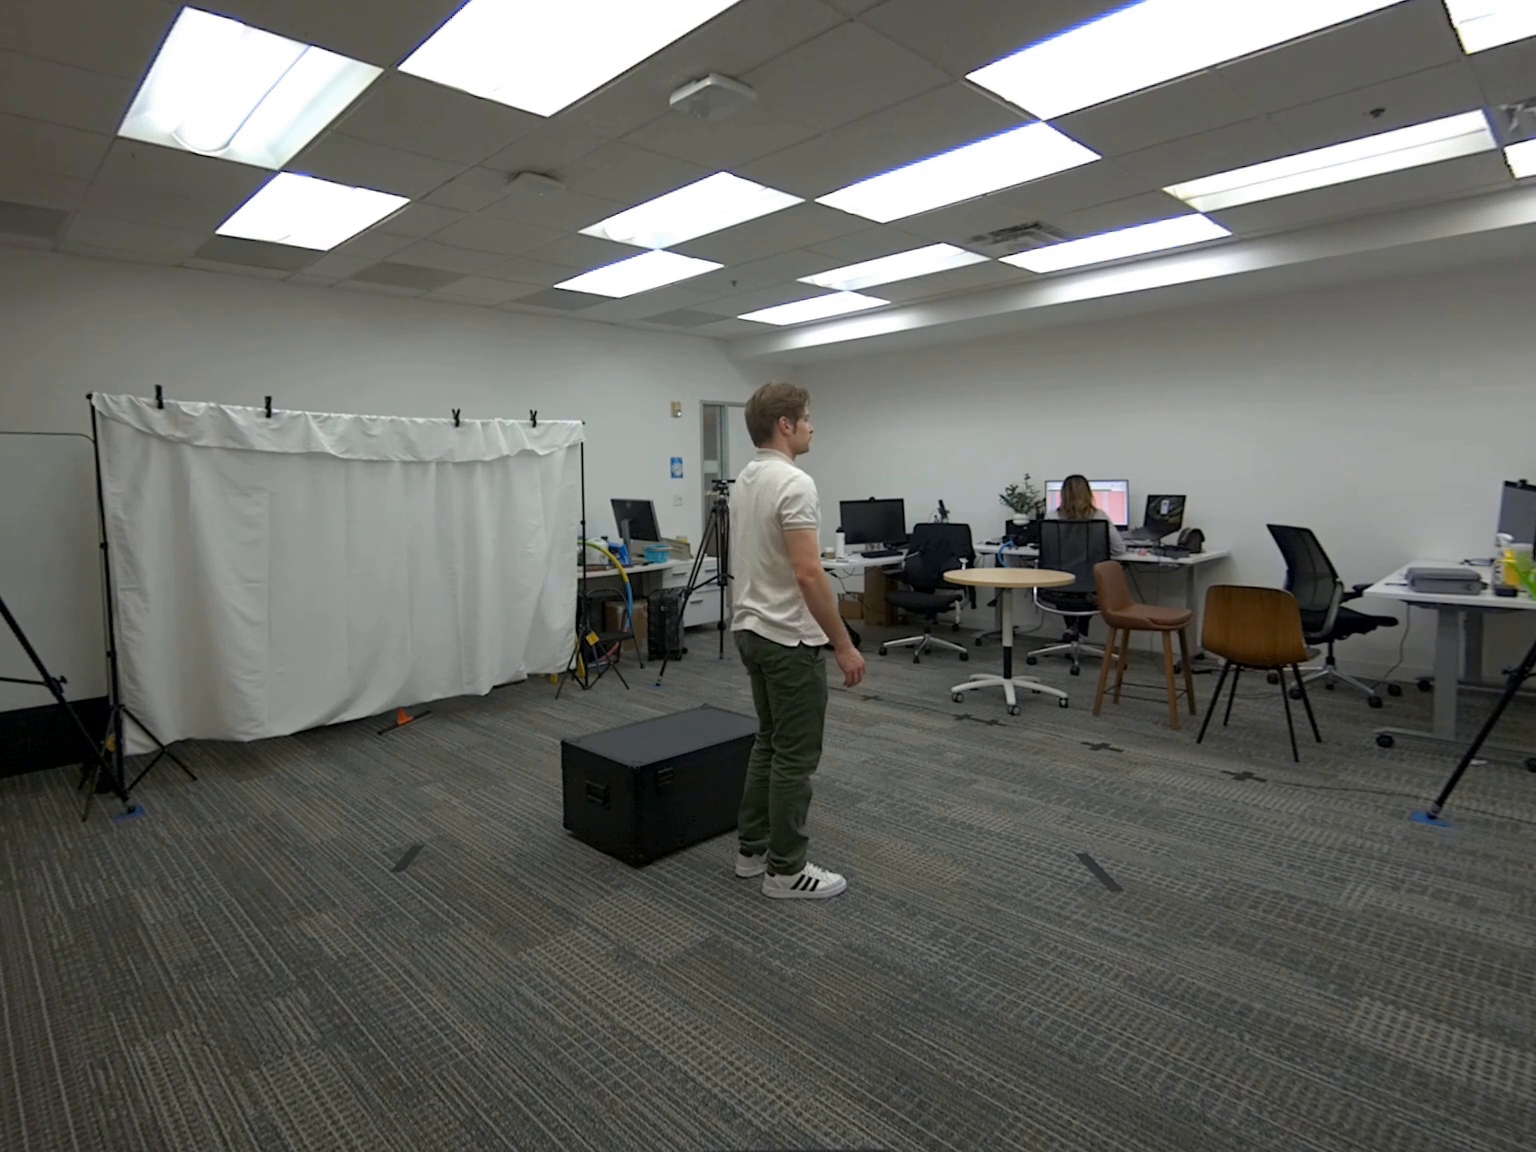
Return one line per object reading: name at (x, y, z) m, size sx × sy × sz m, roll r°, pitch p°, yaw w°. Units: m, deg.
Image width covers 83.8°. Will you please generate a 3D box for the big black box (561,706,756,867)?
big black box at (-0.348, 0.814, 3.508) m, size 0.845 × 0.384 × 0.539 m, roll -6°, pitch 6°, yaw -44°
